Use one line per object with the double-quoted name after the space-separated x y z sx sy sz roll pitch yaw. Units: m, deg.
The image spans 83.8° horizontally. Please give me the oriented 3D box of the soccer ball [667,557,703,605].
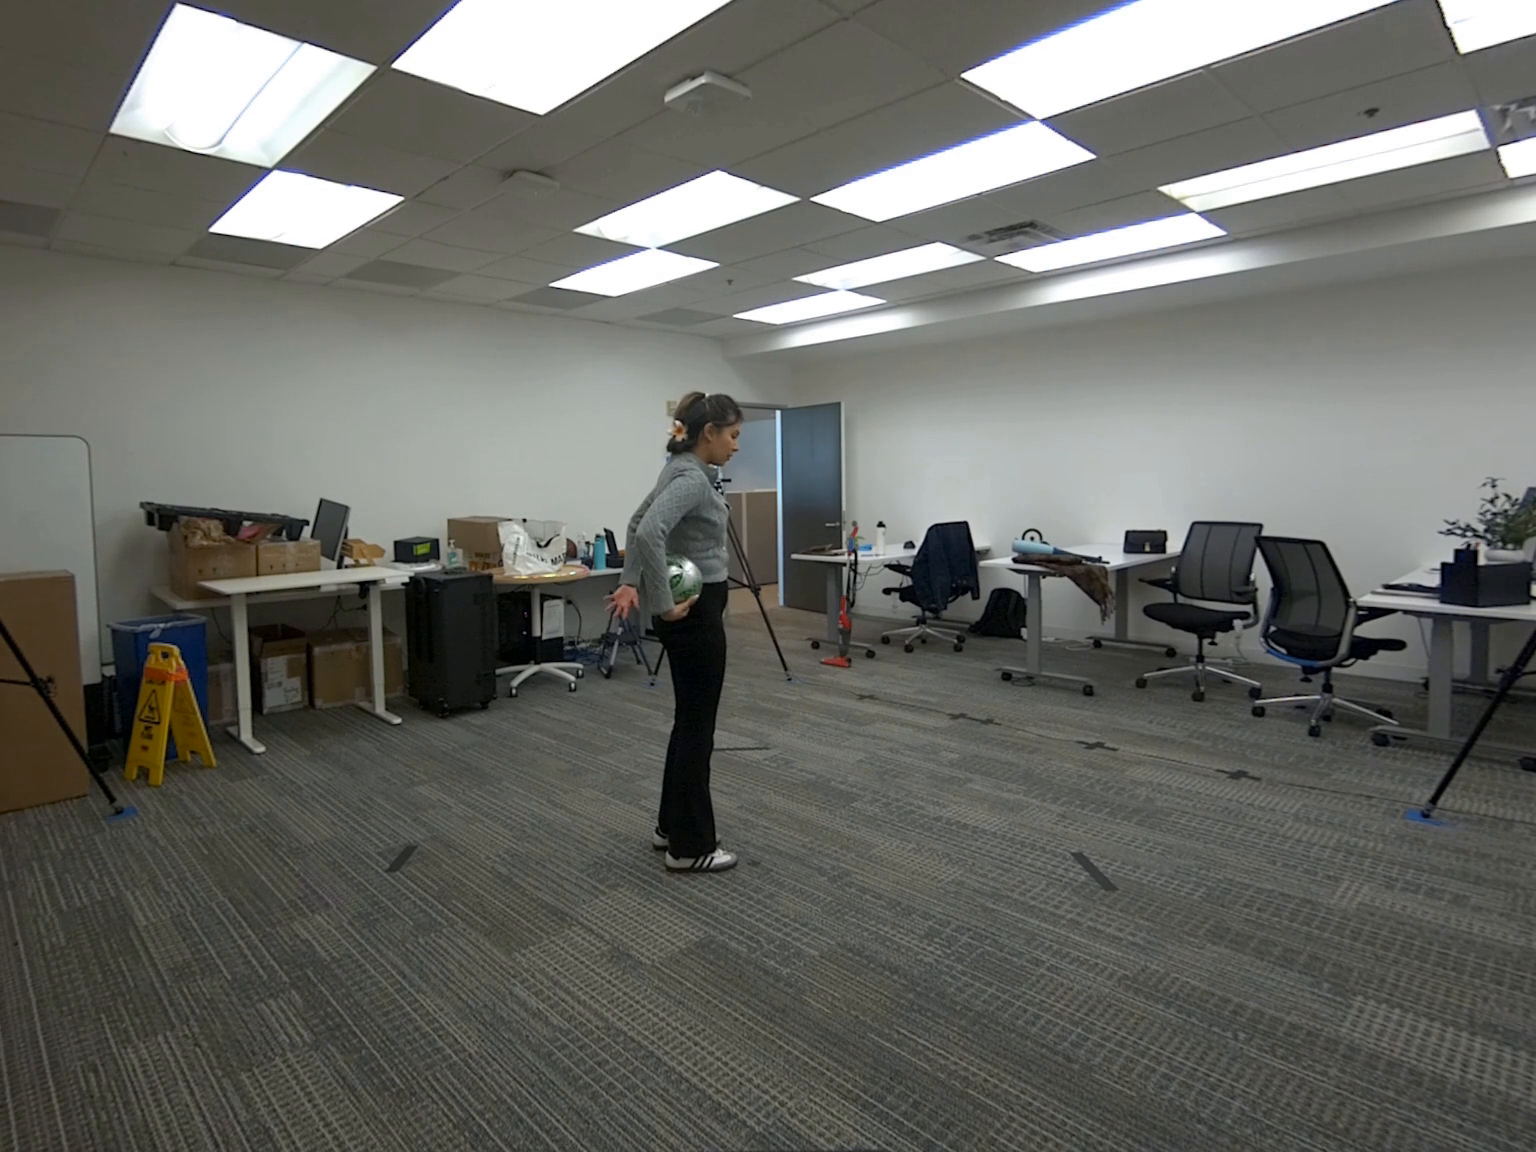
-0.309 0.033 2.851 0.187 0.187 0.188 -1 5 -2 "soccer ball"
